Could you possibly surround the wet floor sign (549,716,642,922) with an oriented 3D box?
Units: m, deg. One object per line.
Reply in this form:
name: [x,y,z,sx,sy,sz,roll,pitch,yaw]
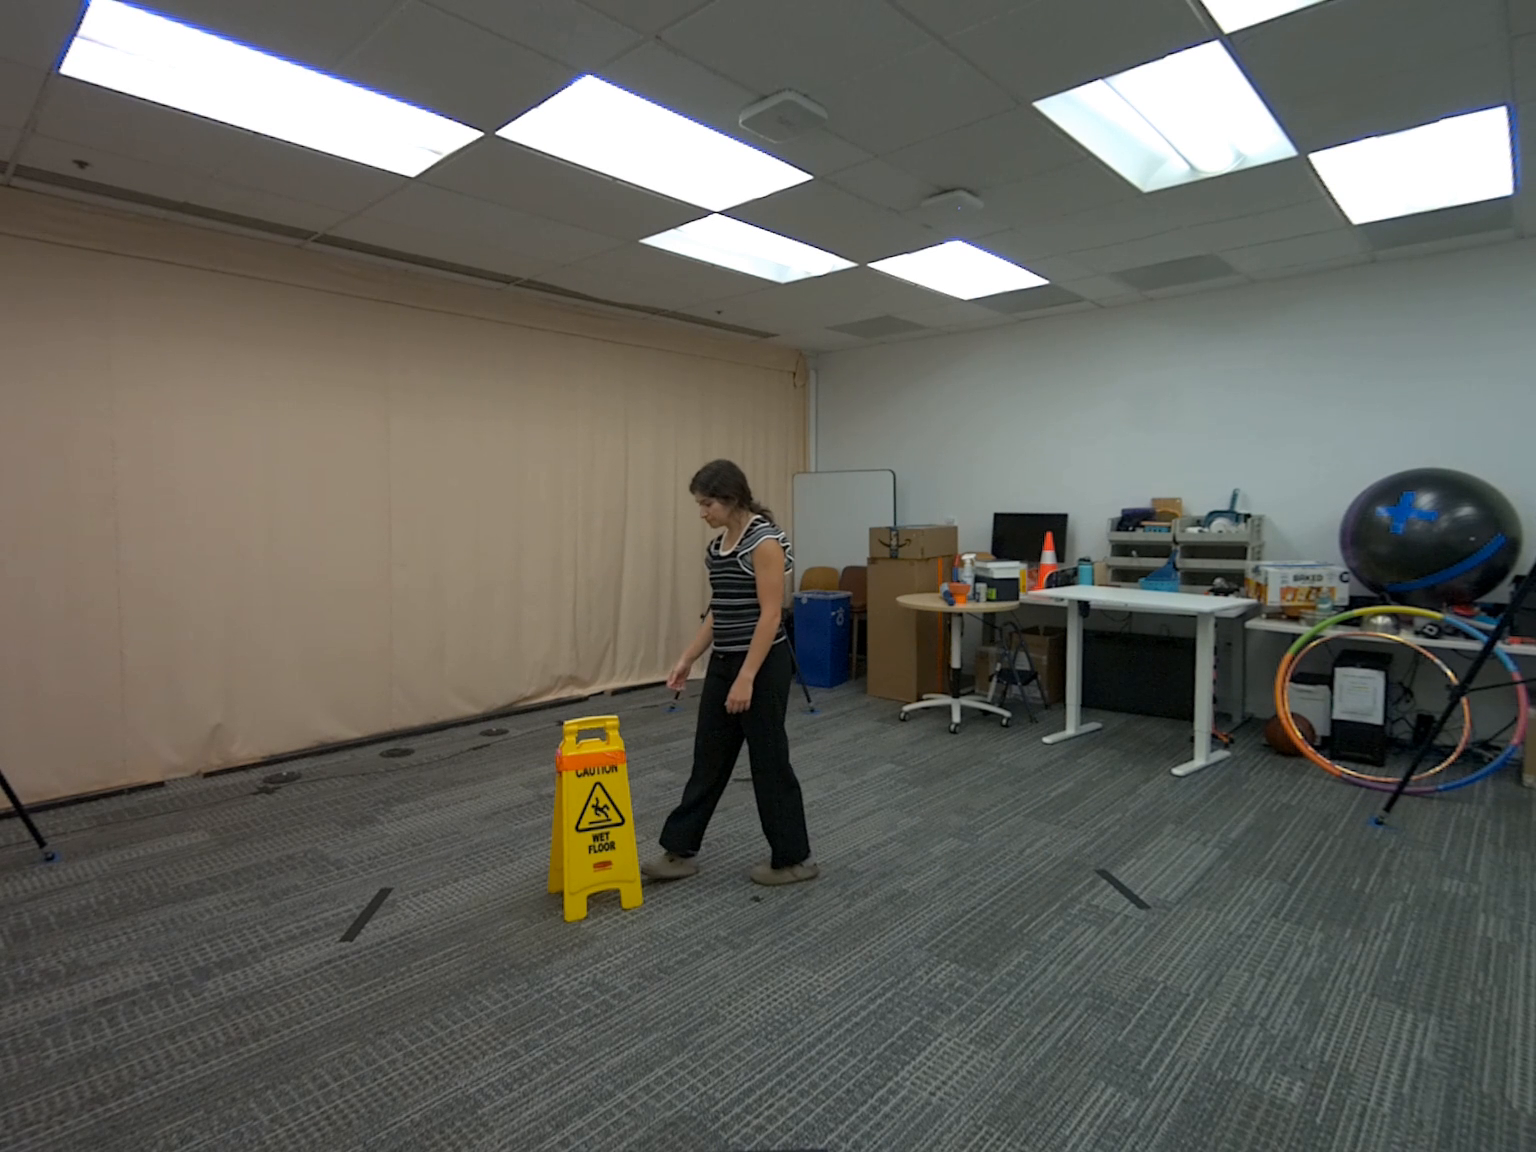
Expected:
wet floor sign: [-0.625,0.826,2.978,0.276,0.645,0.297,-2,3,-25]
